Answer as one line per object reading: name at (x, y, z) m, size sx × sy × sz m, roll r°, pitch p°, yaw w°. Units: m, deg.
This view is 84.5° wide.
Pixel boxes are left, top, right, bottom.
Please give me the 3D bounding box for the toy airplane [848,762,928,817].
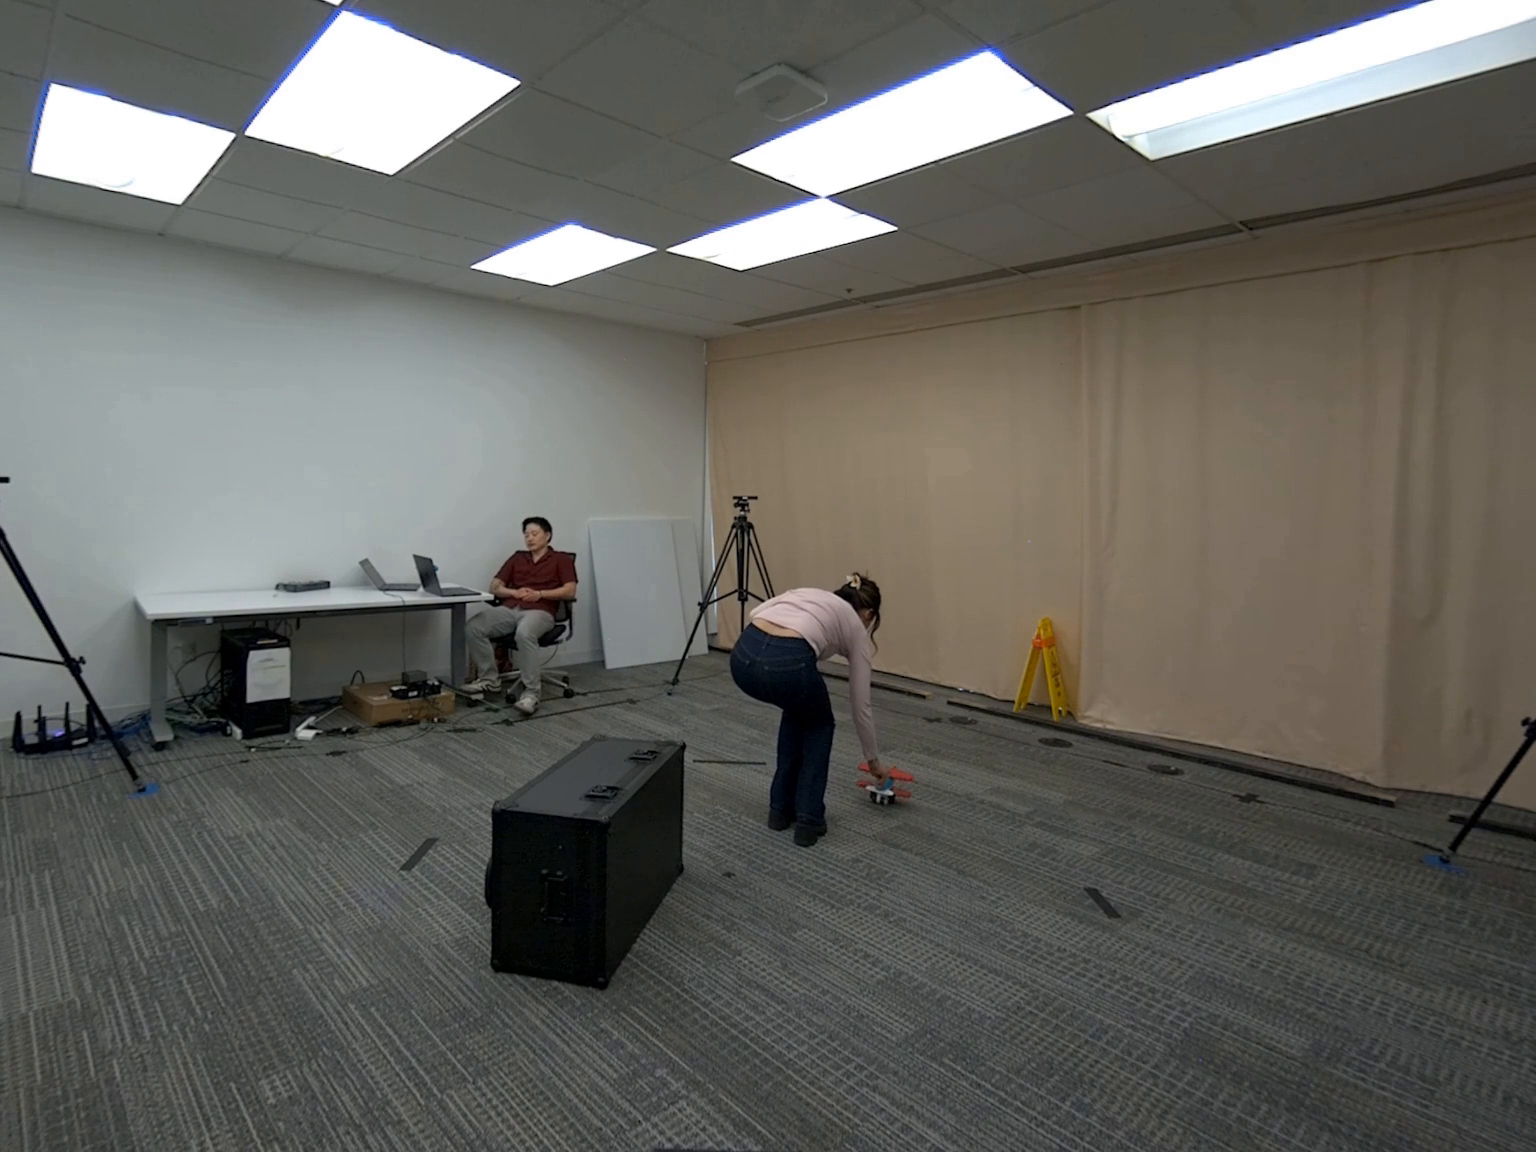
toy airplane at (0.539, 0.961, 3.838) m, size 0.248 × 0.157 × 0.261 m, roll 13°, pitch -8°, yaw -12°
